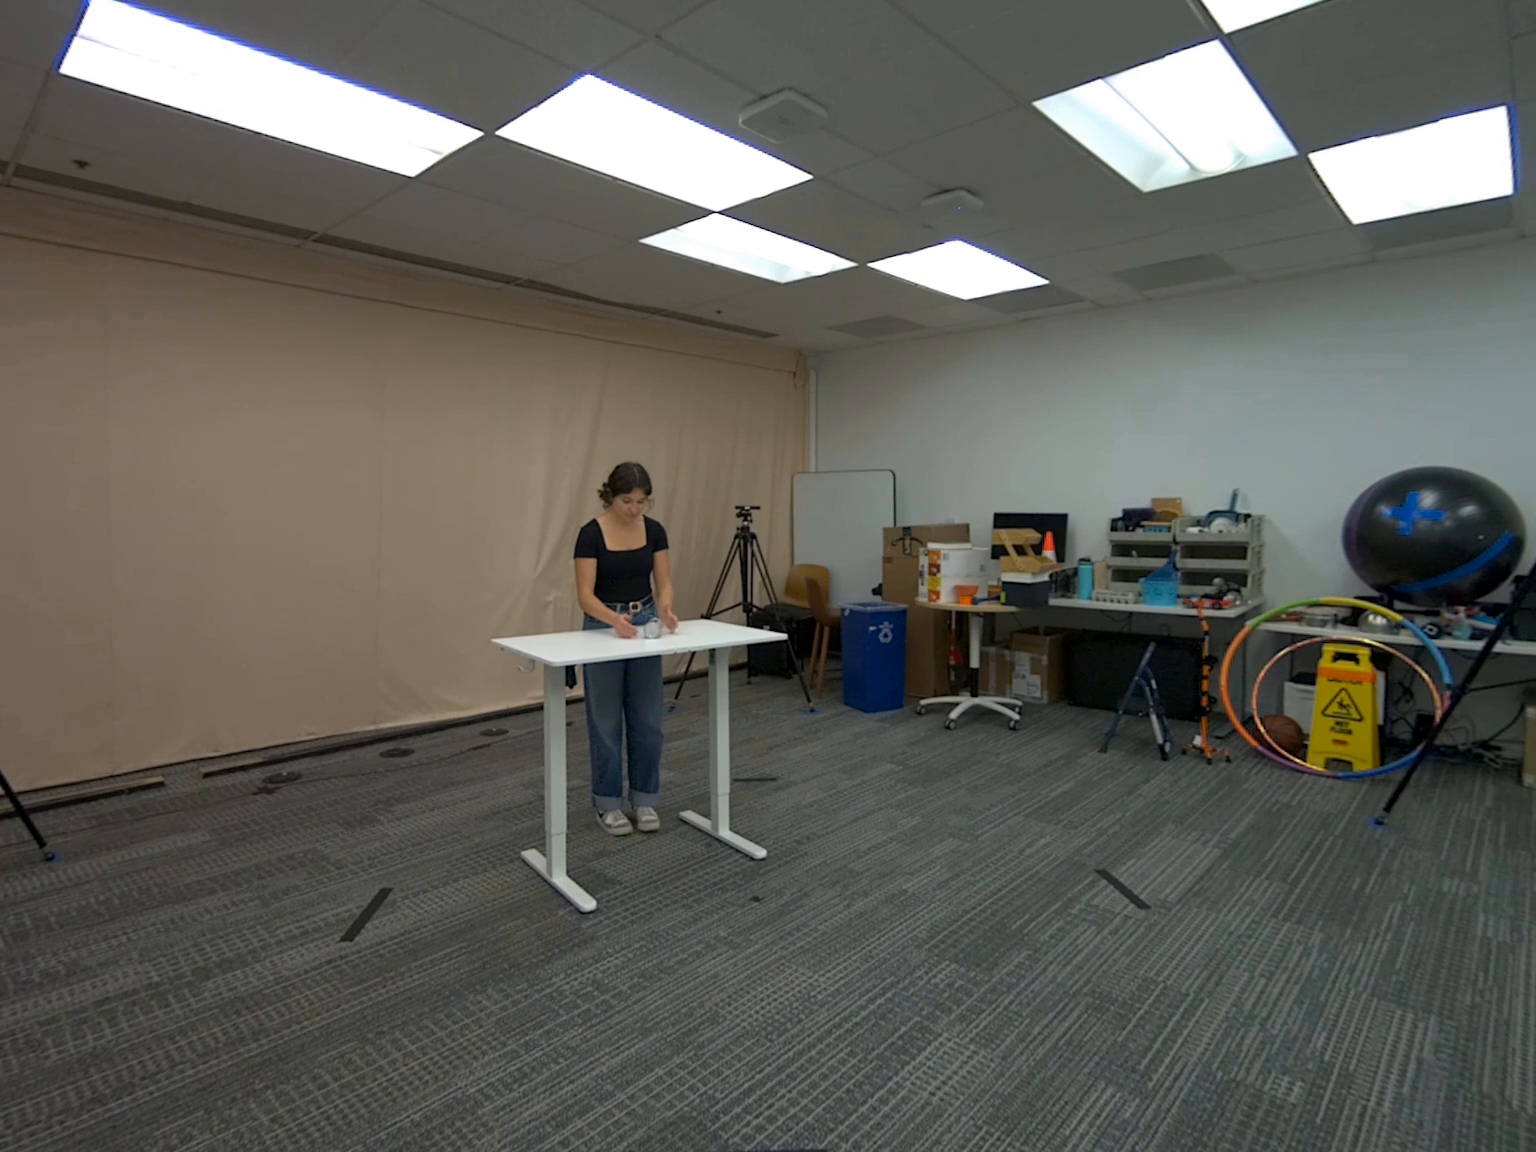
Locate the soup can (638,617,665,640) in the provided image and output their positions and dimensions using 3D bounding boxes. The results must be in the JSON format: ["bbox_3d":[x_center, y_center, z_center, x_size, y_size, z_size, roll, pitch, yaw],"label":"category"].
[{"bbox_3d":[-0.454,0.204,3.317,0.067,0.067,0.122,0,5,0],"label":"soup can"}]
